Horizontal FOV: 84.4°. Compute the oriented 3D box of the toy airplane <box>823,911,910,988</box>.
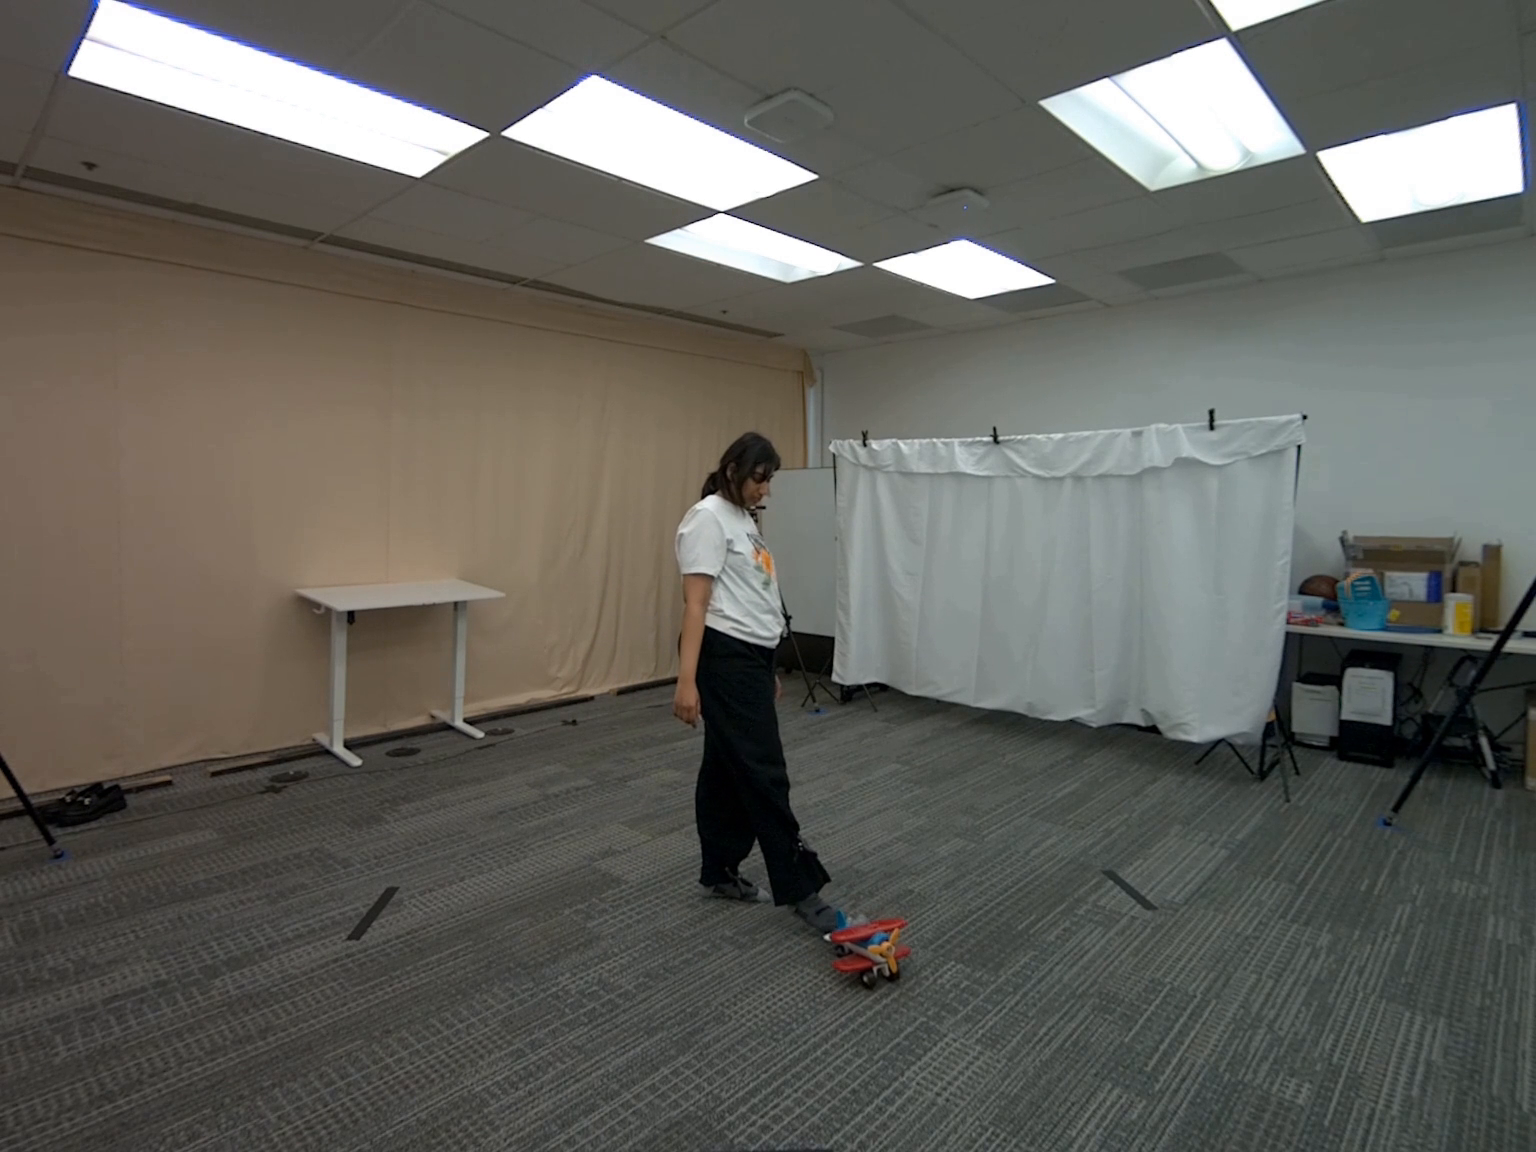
[{"bbox_3d":[0.277,1.108,2.511,0.267,0.156,0.244,4,7,35],"label":"toy airplane"}]
